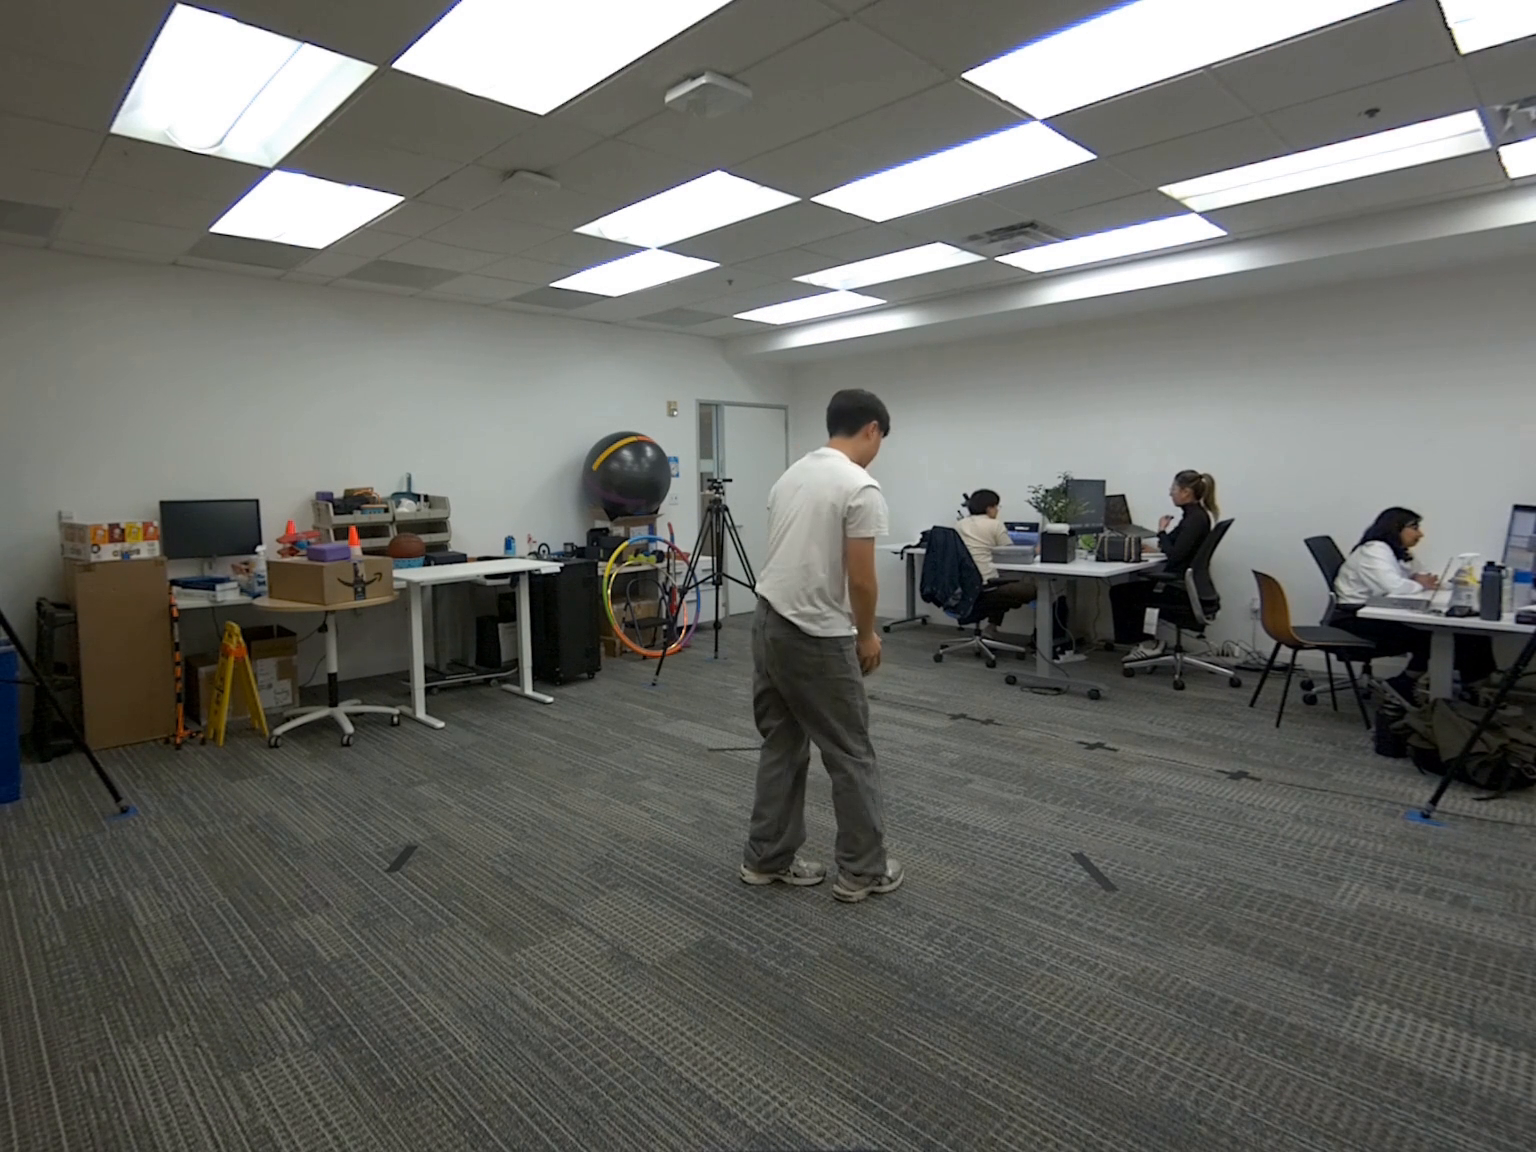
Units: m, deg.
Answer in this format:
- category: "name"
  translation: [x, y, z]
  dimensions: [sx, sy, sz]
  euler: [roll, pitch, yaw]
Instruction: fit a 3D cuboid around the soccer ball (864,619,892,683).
- category: "soccer ball"
  translation: [0.322, 0.261, 3.032]
  dimensions: [0.187, 0.187, 0.188]
  euler: [-1, 5, -2]
